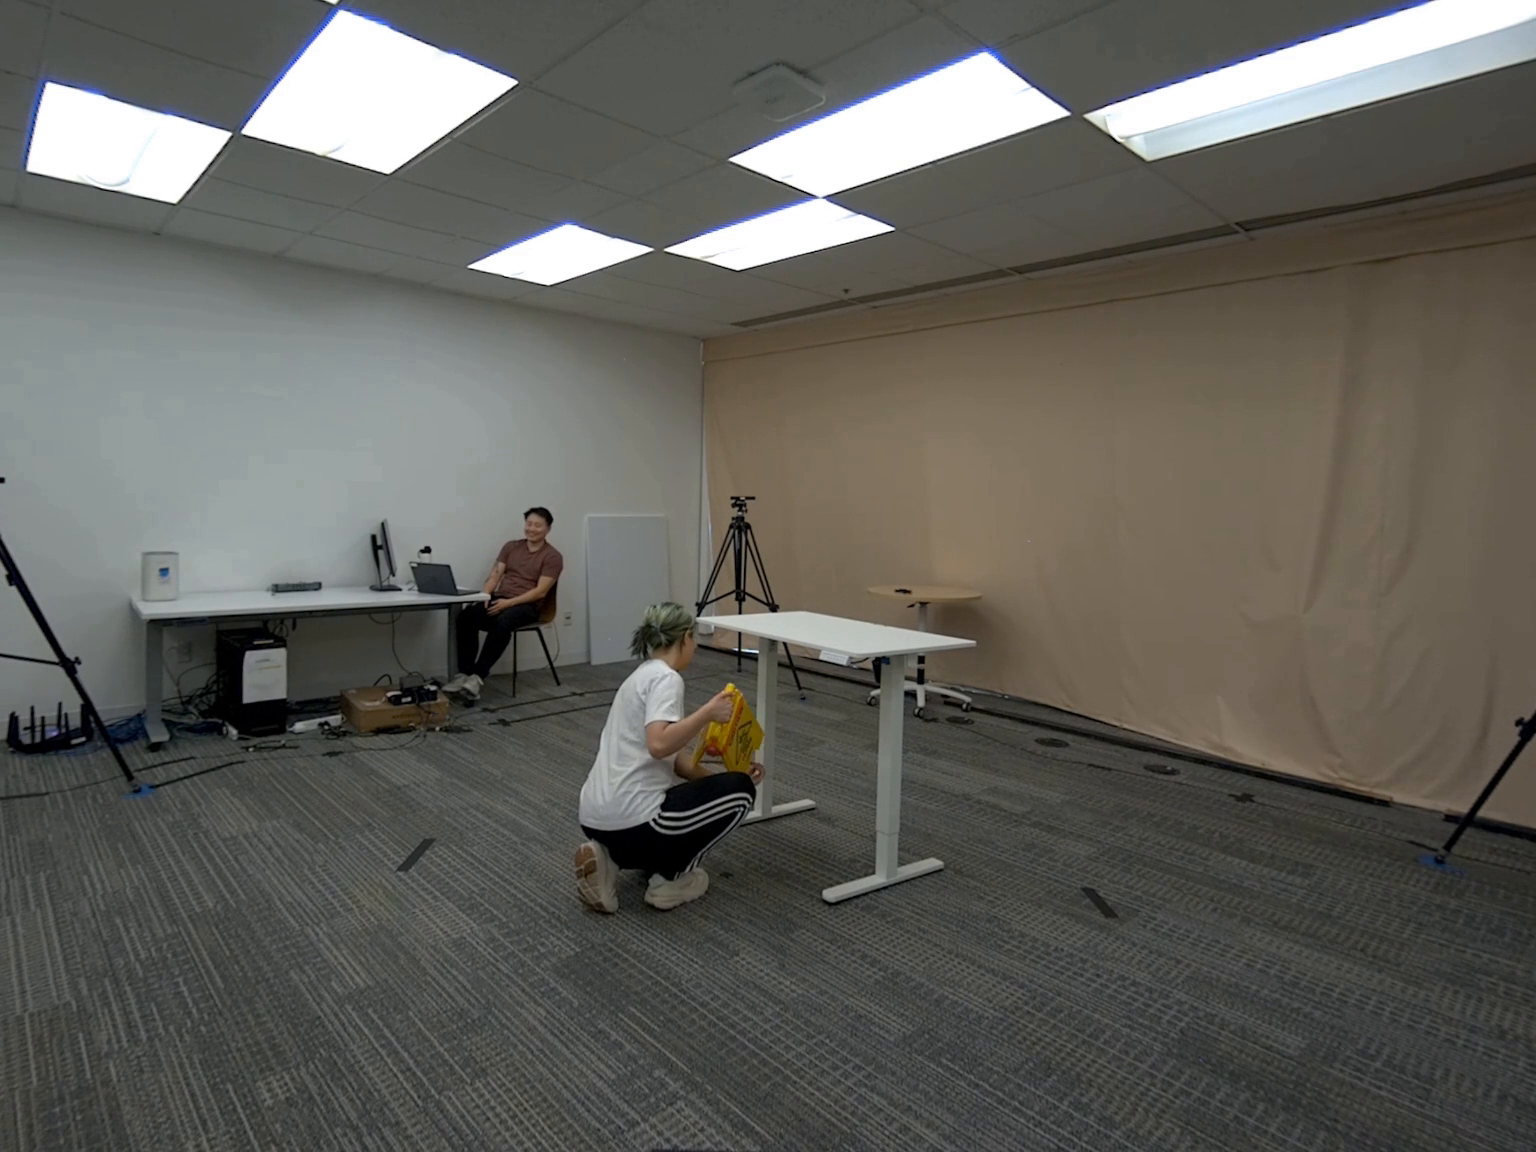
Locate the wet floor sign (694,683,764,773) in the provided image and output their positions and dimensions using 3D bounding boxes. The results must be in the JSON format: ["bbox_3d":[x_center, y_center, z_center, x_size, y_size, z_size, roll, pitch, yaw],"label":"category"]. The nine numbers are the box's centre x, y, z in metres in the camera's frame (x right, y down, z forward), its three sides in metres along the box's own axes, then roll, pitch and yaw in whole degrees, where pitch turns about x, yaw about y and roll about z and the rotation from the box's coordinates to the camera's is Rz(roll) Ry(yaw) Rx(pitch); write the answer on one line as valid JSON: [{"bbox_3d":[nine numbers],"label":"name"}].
[{"bbox_3d":[-0.171,0.606,3.150,0.292,0.285,0.635,16,-27,6],"label":"wet floor sign"}]
